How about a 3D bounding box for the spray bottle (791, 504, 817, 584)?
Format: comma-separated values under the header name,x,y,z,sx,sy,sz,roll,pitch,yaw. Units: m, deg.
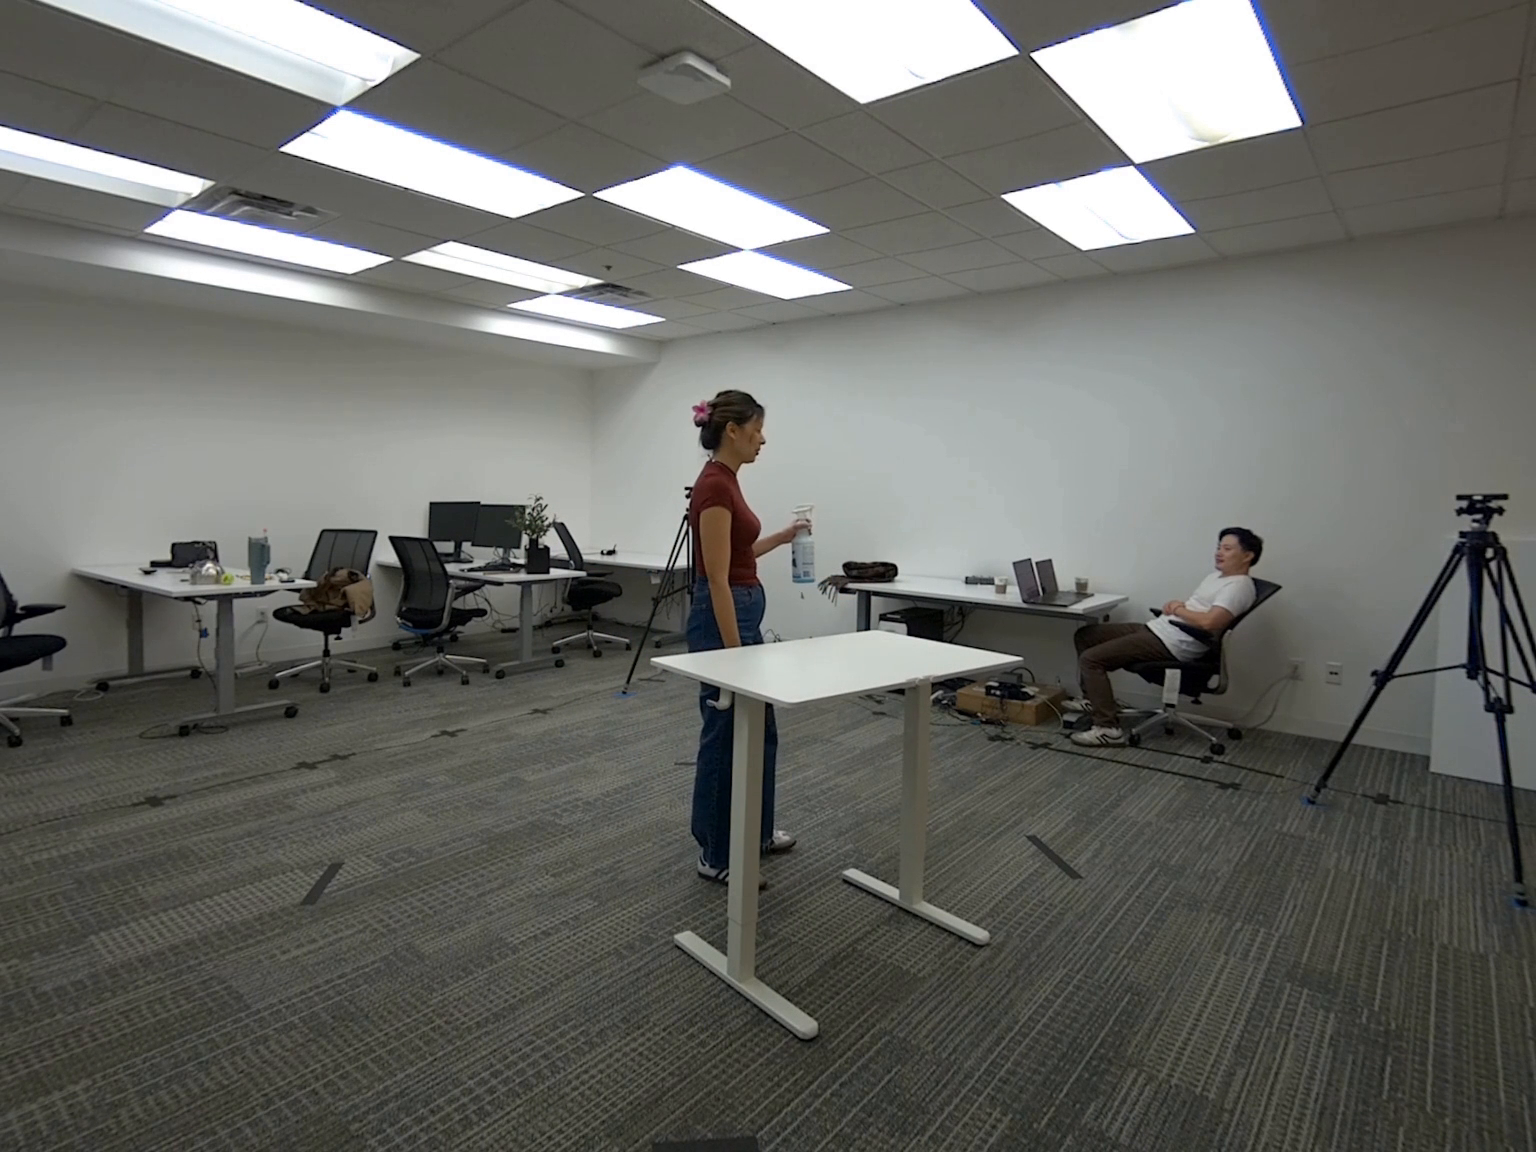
name,x,y,z,sx,sy,sz,roll,pitch,yaw
spray bottle,0.125,-0.123,3.201,0.084,0.297,0.093,-1,1,-38
